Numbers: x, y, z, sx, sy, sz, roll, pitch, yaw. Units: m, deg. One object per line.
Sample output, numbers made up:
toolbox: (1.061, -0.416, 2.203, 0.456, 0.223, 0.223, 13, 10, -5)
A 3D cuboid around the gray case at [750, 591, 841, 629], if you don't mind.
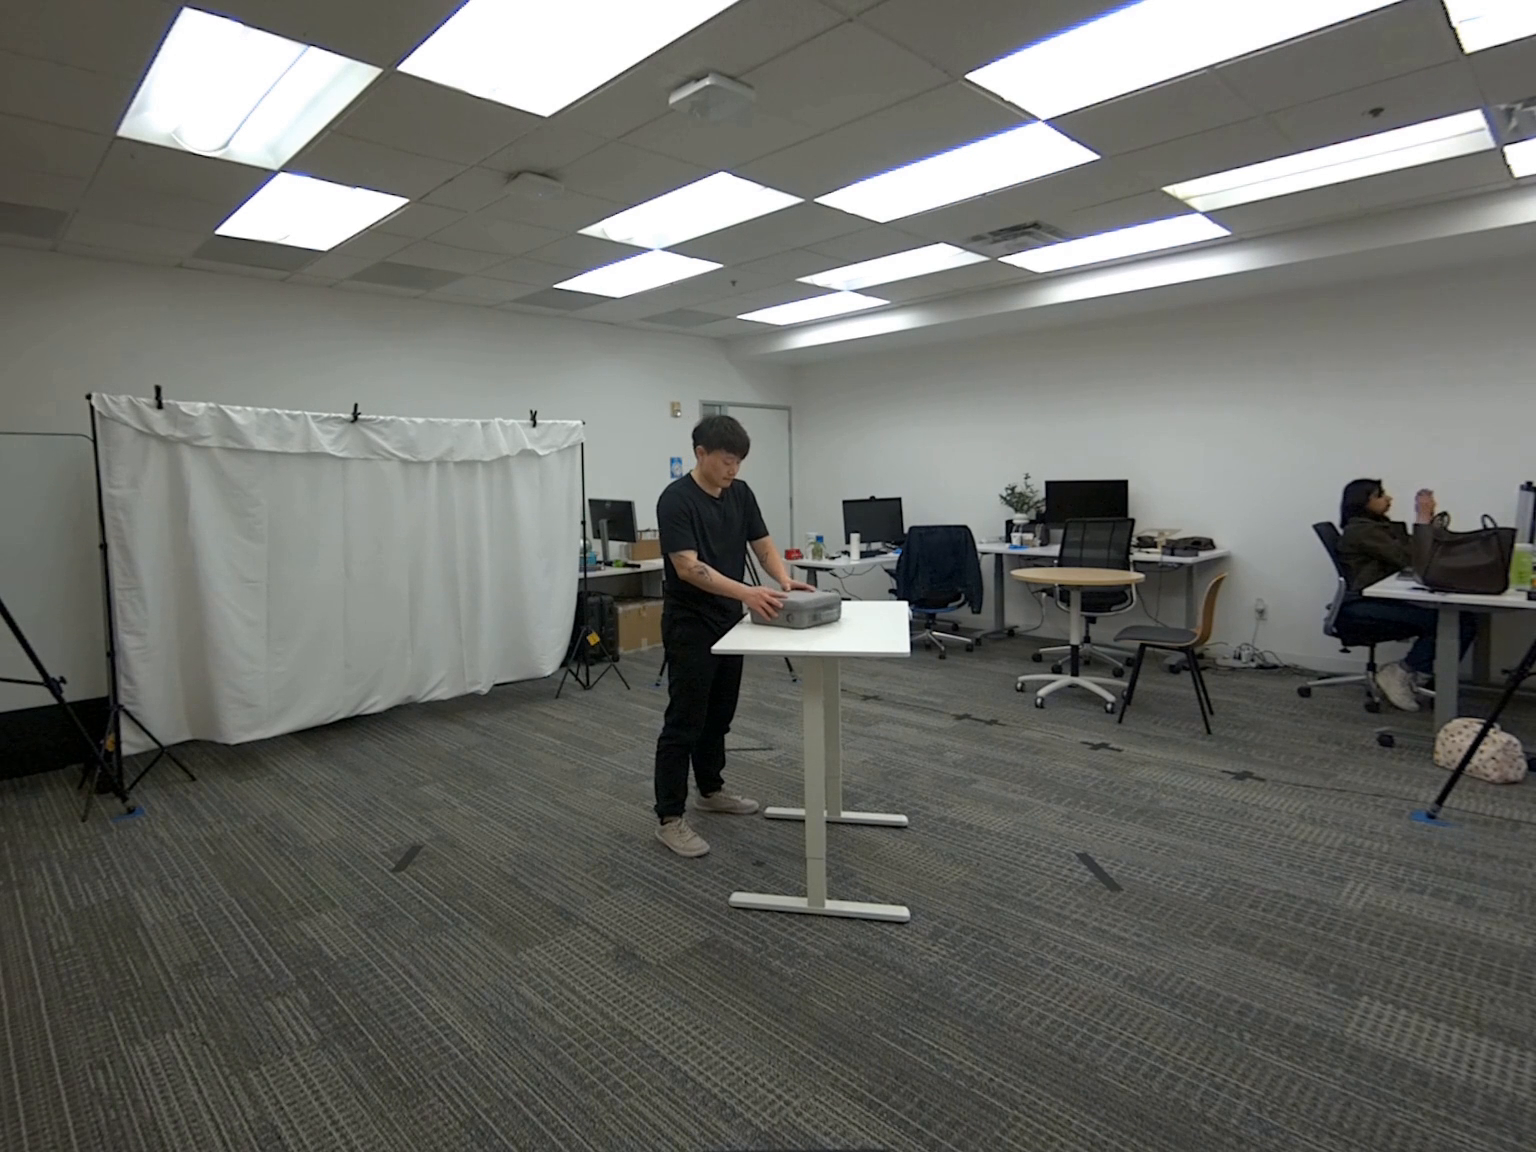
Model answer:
gray case: (0.107, 0.115, 3.067, 0.268, 0.104, 0.250, 3, 7, 41)
